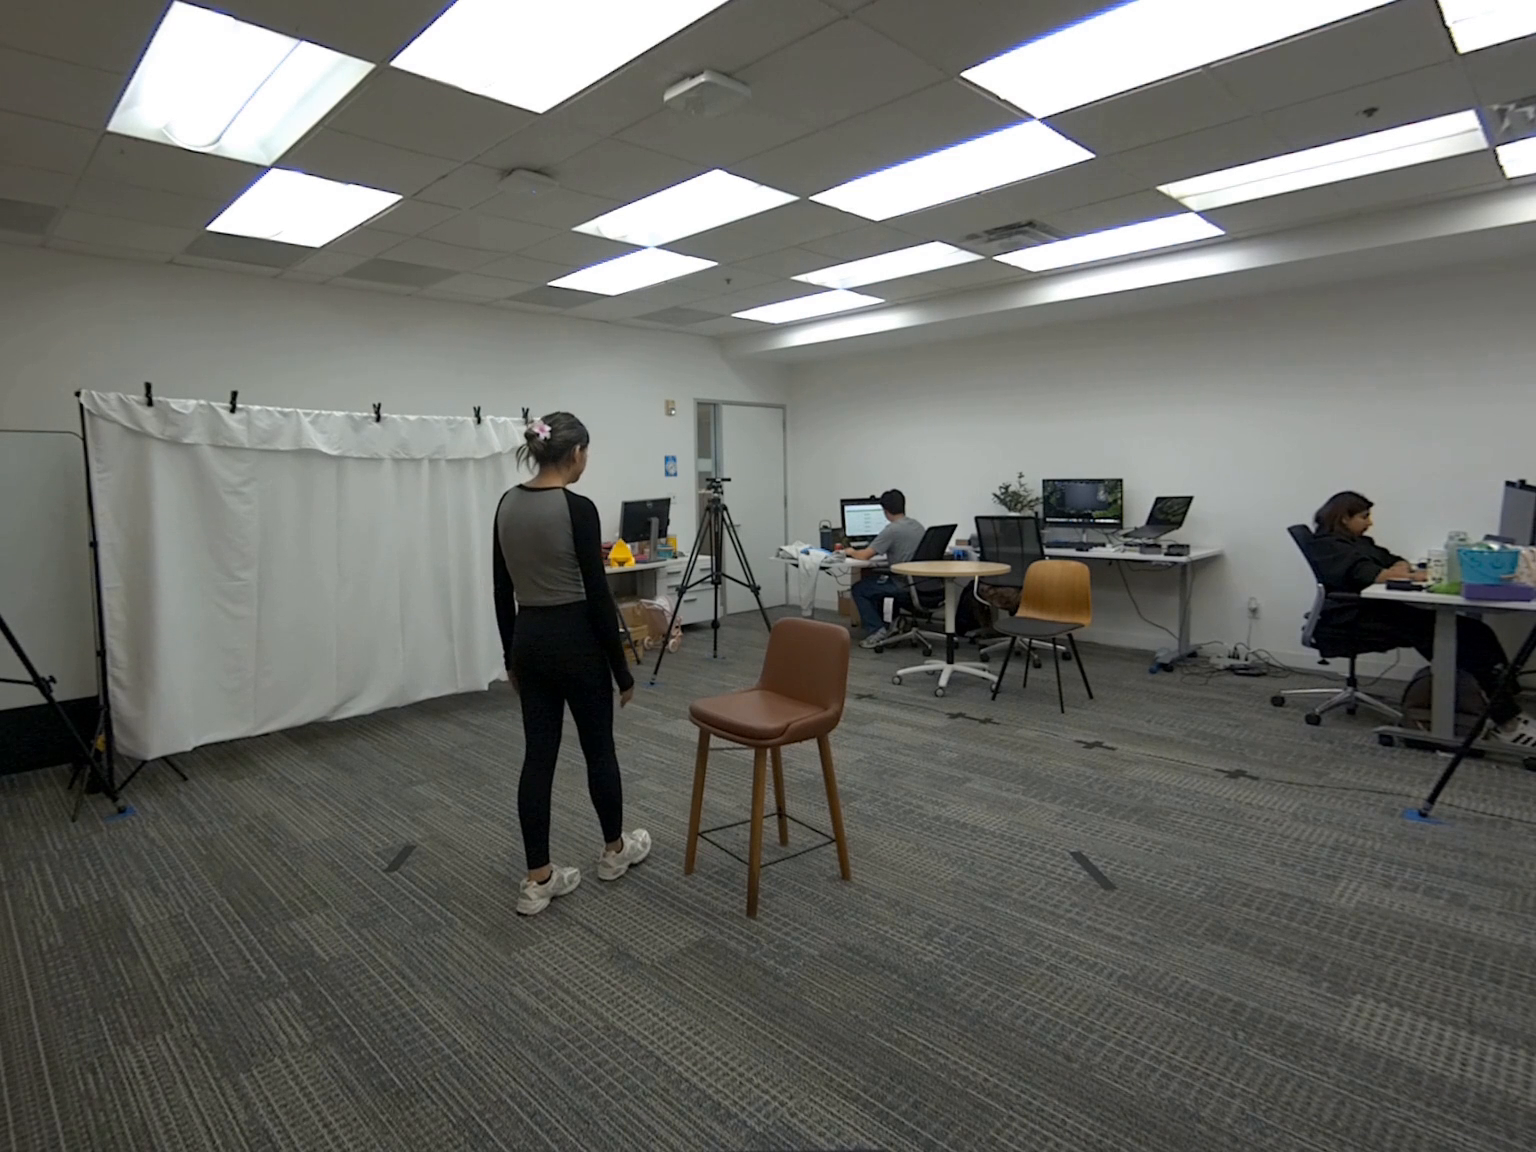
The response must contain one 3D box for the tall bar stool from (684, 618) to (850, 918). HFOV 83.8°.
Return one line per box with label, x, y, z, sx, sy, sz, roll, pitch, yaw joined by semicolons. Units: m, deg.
tall bar stool;0.001;0.620;2.974;0.455;0.888;0.470;-1;3;-36
